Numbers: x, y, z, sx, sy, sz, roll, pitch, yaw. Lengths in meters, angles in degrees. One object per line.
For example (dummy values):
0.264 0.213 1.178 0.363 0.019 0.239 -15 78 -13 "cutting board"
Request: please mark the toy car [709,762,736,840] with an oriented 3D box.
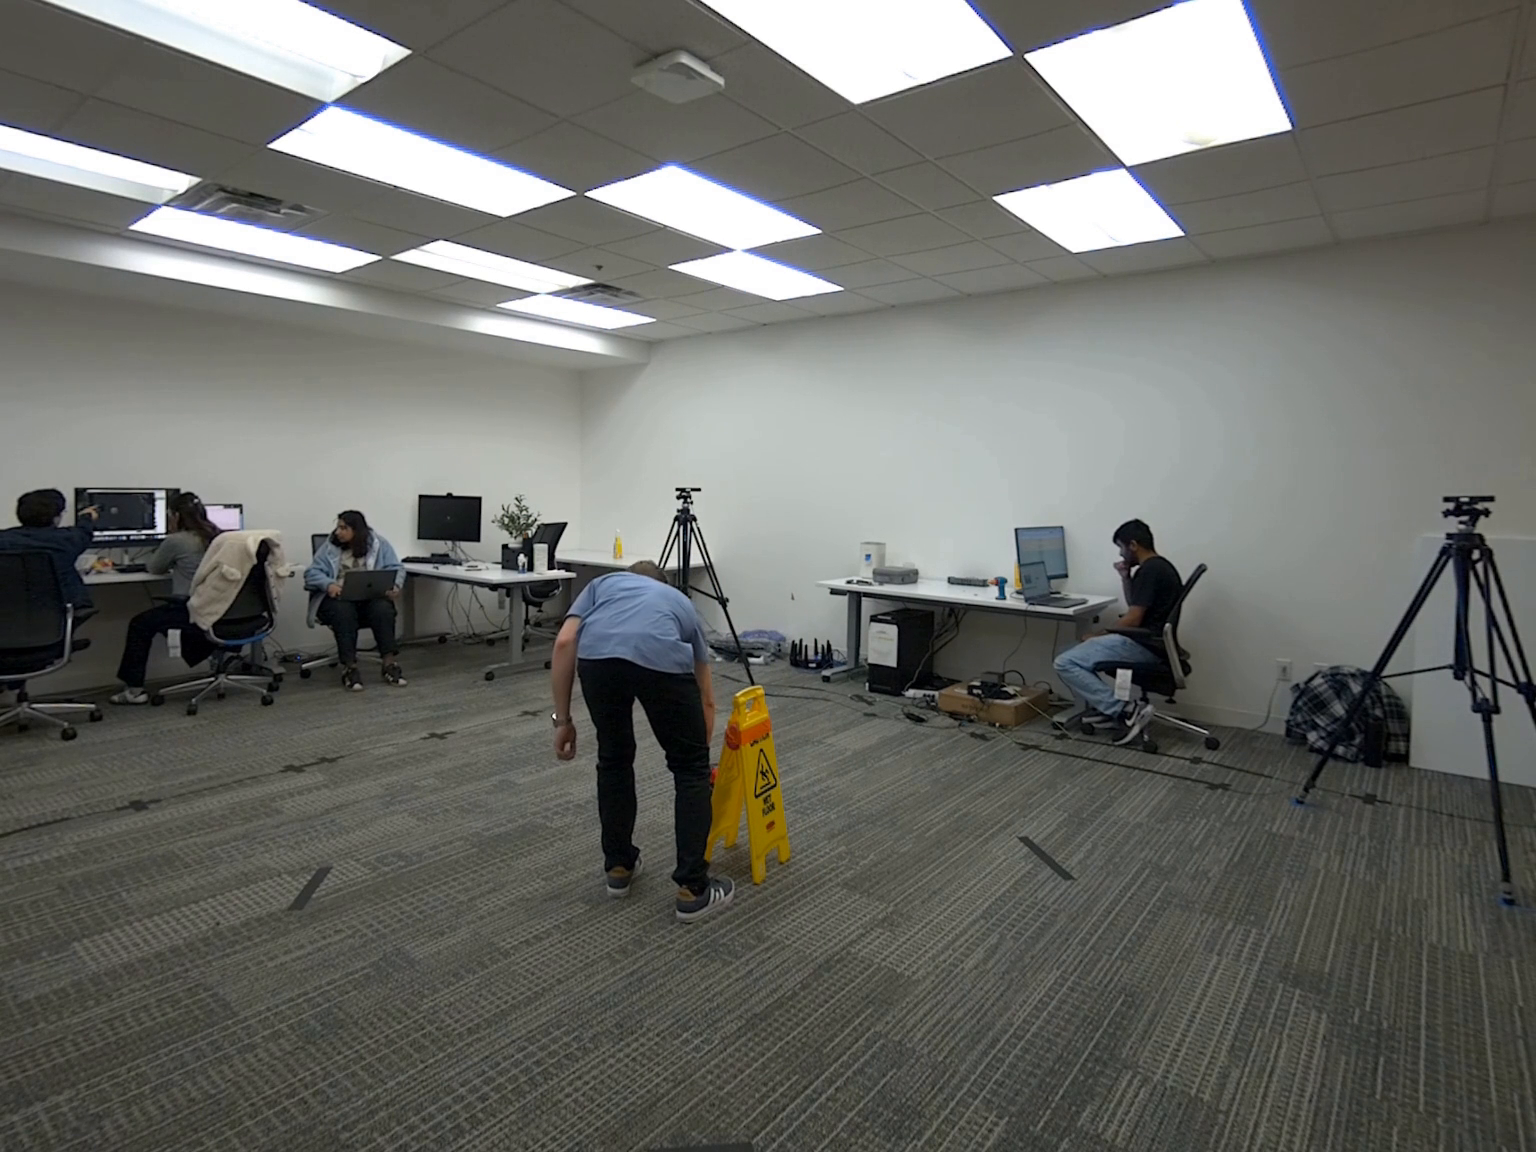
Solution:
-0.217 0.845 3.169 0.086 0.255 0.126 8 -6 31 "toy car"
